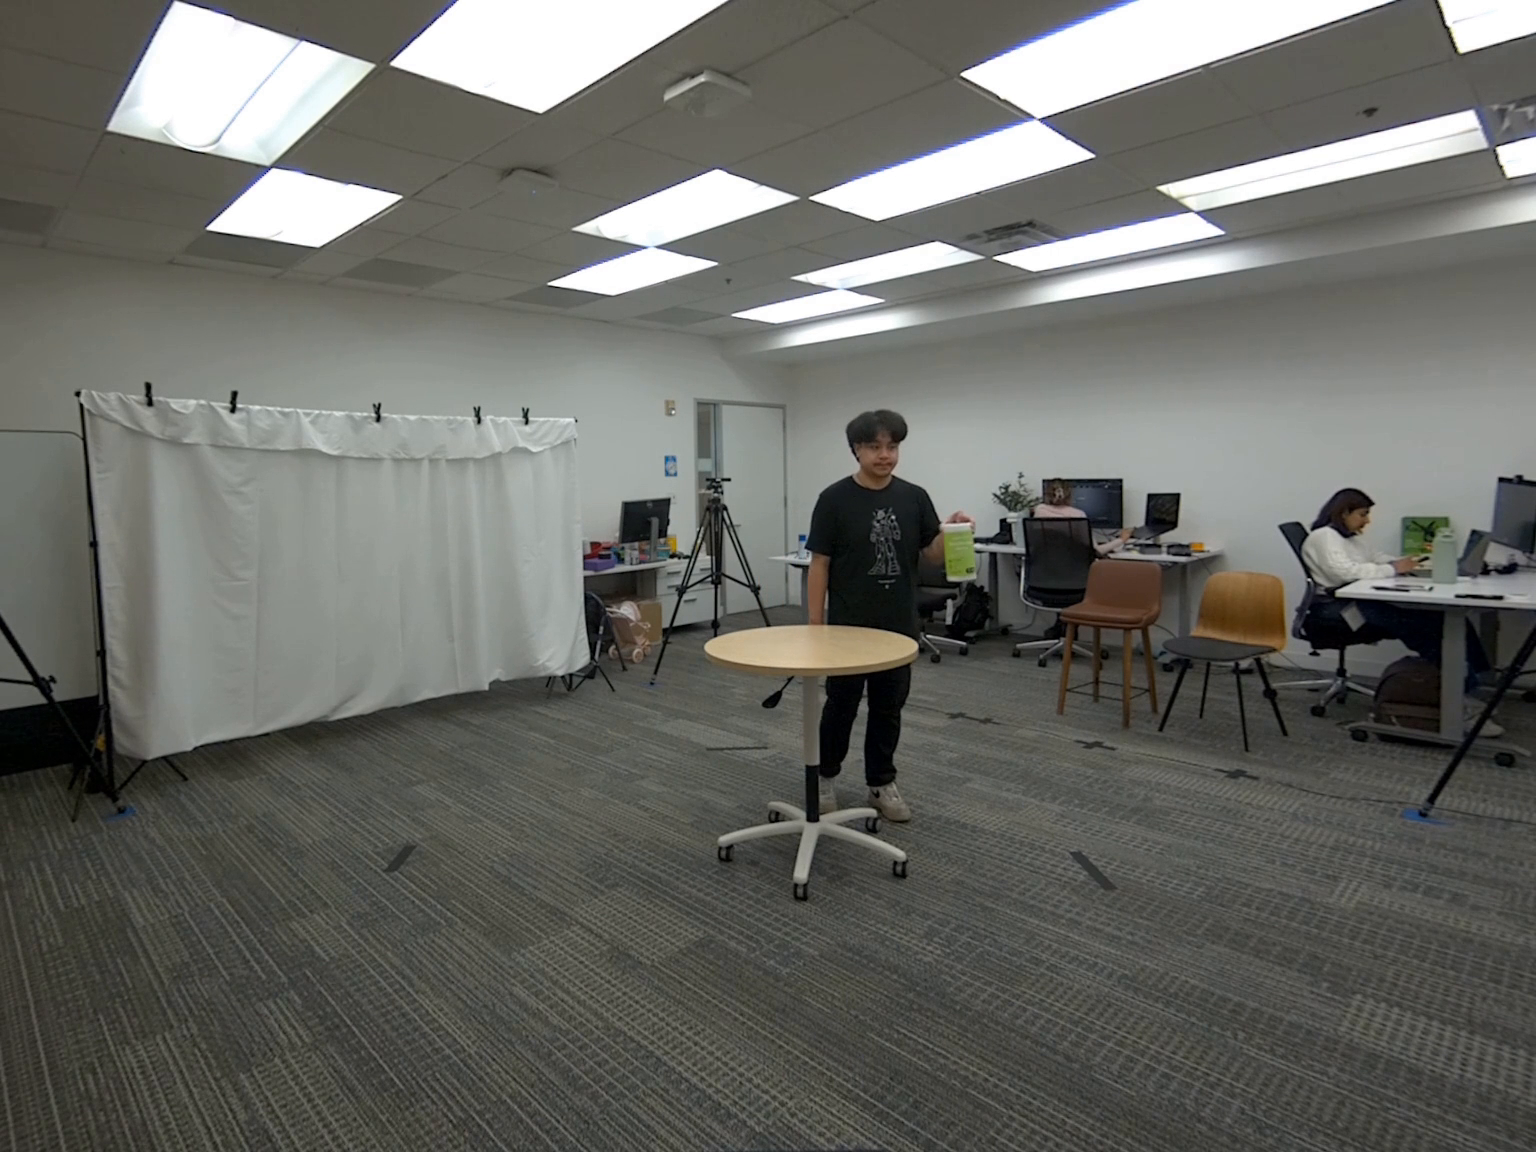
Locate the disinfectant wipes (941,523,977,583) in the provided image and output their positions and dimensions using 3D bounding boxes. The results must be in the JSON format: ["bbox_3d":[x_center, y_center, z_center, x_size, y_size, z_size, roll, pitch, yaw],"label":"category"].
[{"bbox_3d":[0.698,-0.087,3.208,0.118,0.216,0.118,-7,5,-1],"label":"disinfectant wipes"}]
